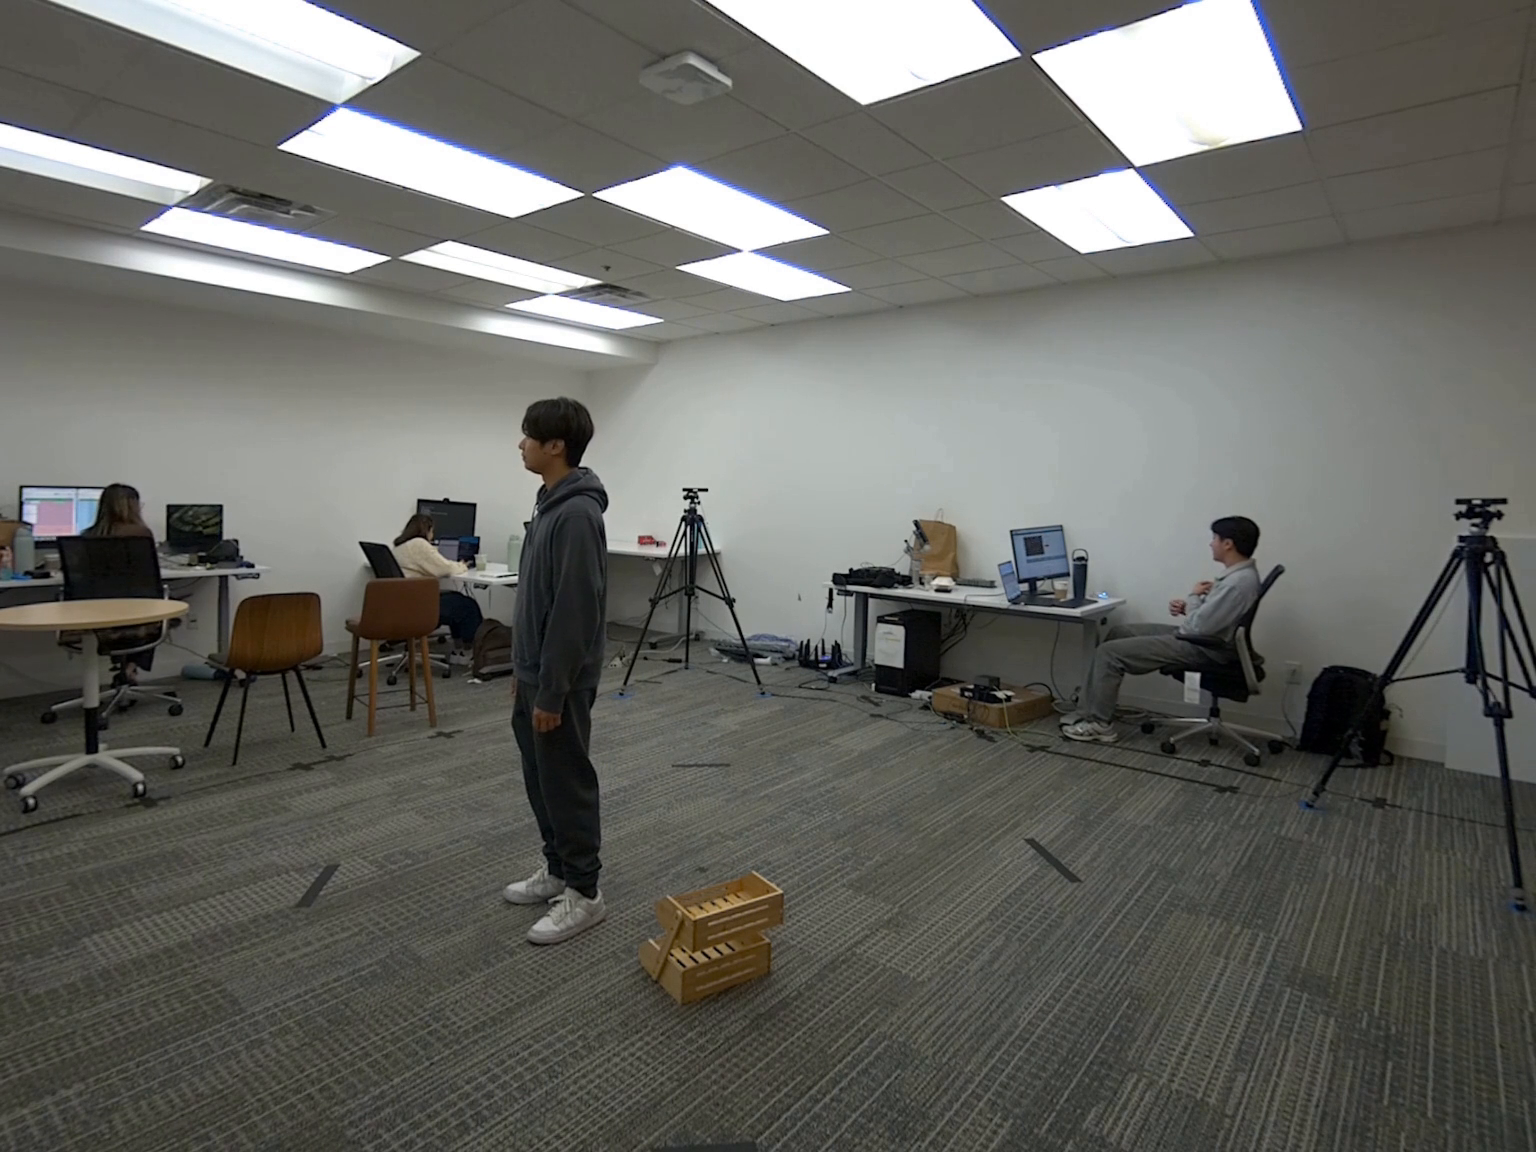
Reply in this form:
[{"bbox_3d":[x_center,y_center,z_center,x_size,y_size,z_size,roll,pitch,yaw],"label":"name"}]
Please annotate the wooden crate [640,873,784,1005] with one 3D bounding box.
[{"bbox_3d":[-0.178,1.001,2.440,0.315,0.272,0.312,-2,6,-36],"label":"wooden crate"}]
